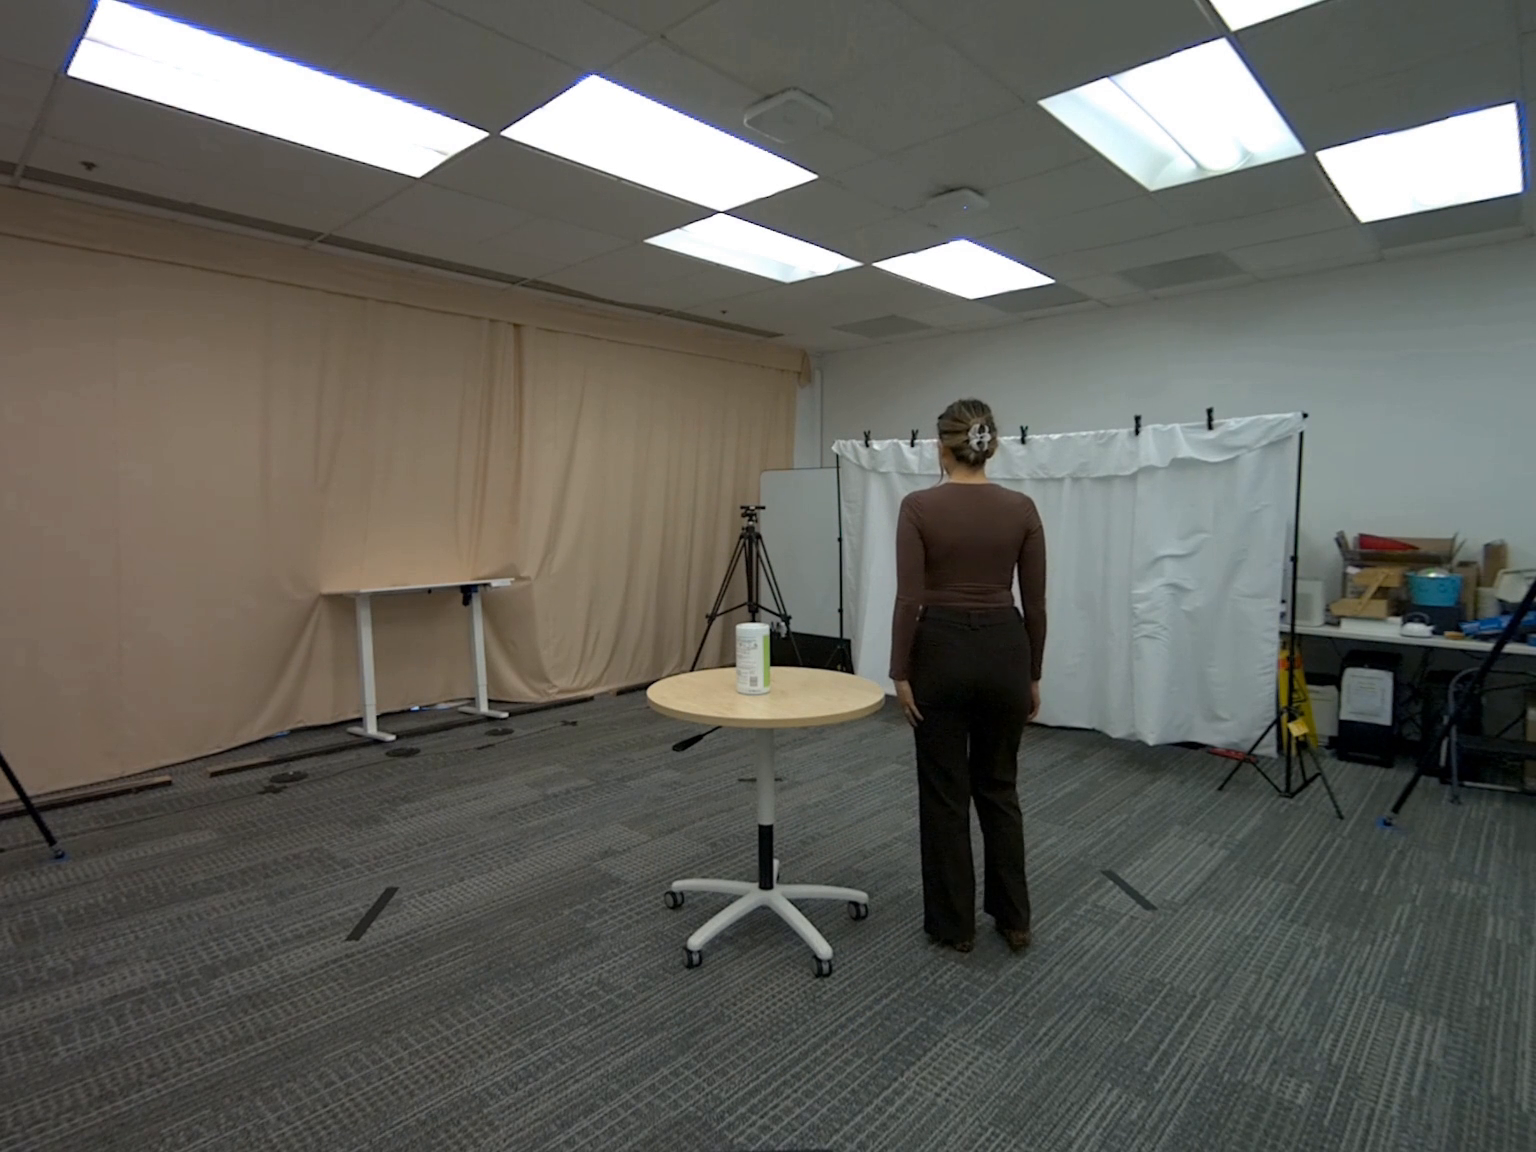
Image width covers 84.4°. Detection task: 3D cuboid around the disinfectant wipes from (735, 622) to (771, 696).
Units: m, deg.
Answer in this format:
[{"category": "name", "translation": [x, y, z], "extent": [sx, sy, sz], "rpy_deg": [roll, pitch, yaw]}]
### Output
[{"category": "disinfectant wipes", "translation": [-0.046, 0.267, 2.691], "extent": [0.118, 0.217, 0.118], "rpy_deg": [-3, 2, -2]}]
